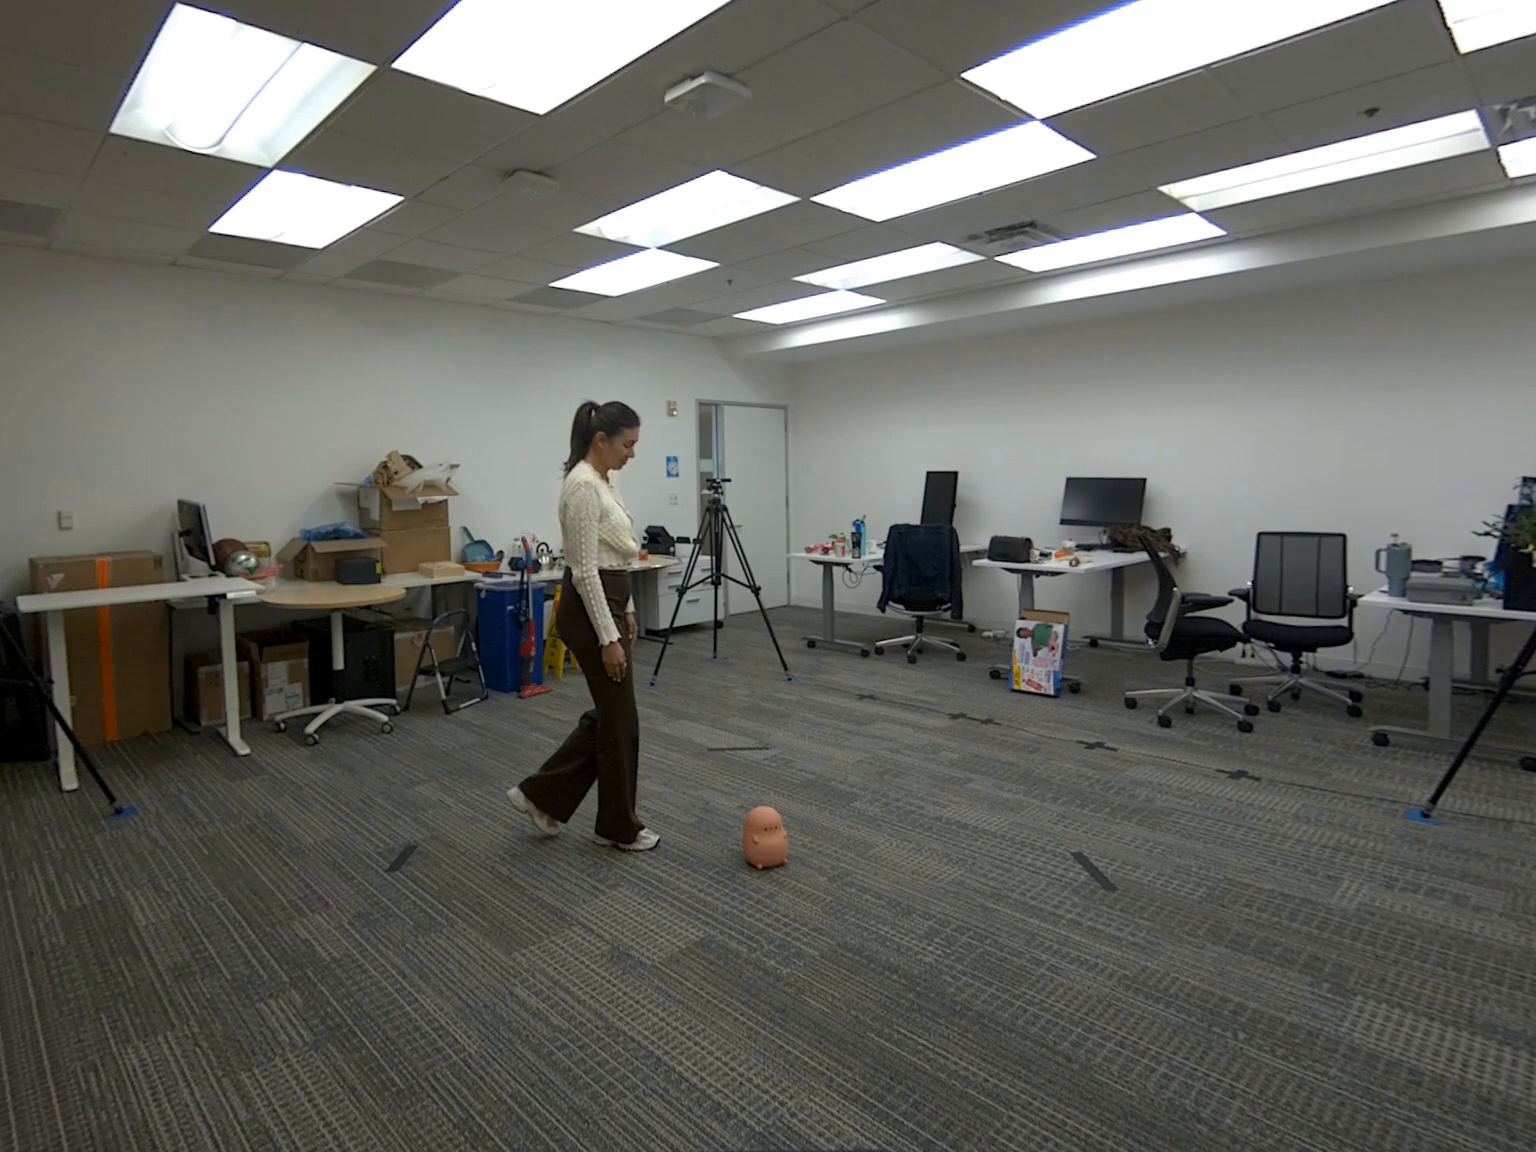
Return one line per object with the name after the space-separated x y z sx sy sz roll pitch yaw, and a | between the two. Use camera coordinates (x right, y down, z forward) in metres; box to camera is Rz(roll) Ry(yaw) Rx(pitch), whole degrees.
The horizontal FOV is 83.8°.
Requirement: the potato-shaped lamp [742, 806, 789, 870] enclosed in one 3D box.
-0.008 0.943 3.113 0.161 0.197 0.175 -4 6 -23 | potato-shaped lamp
